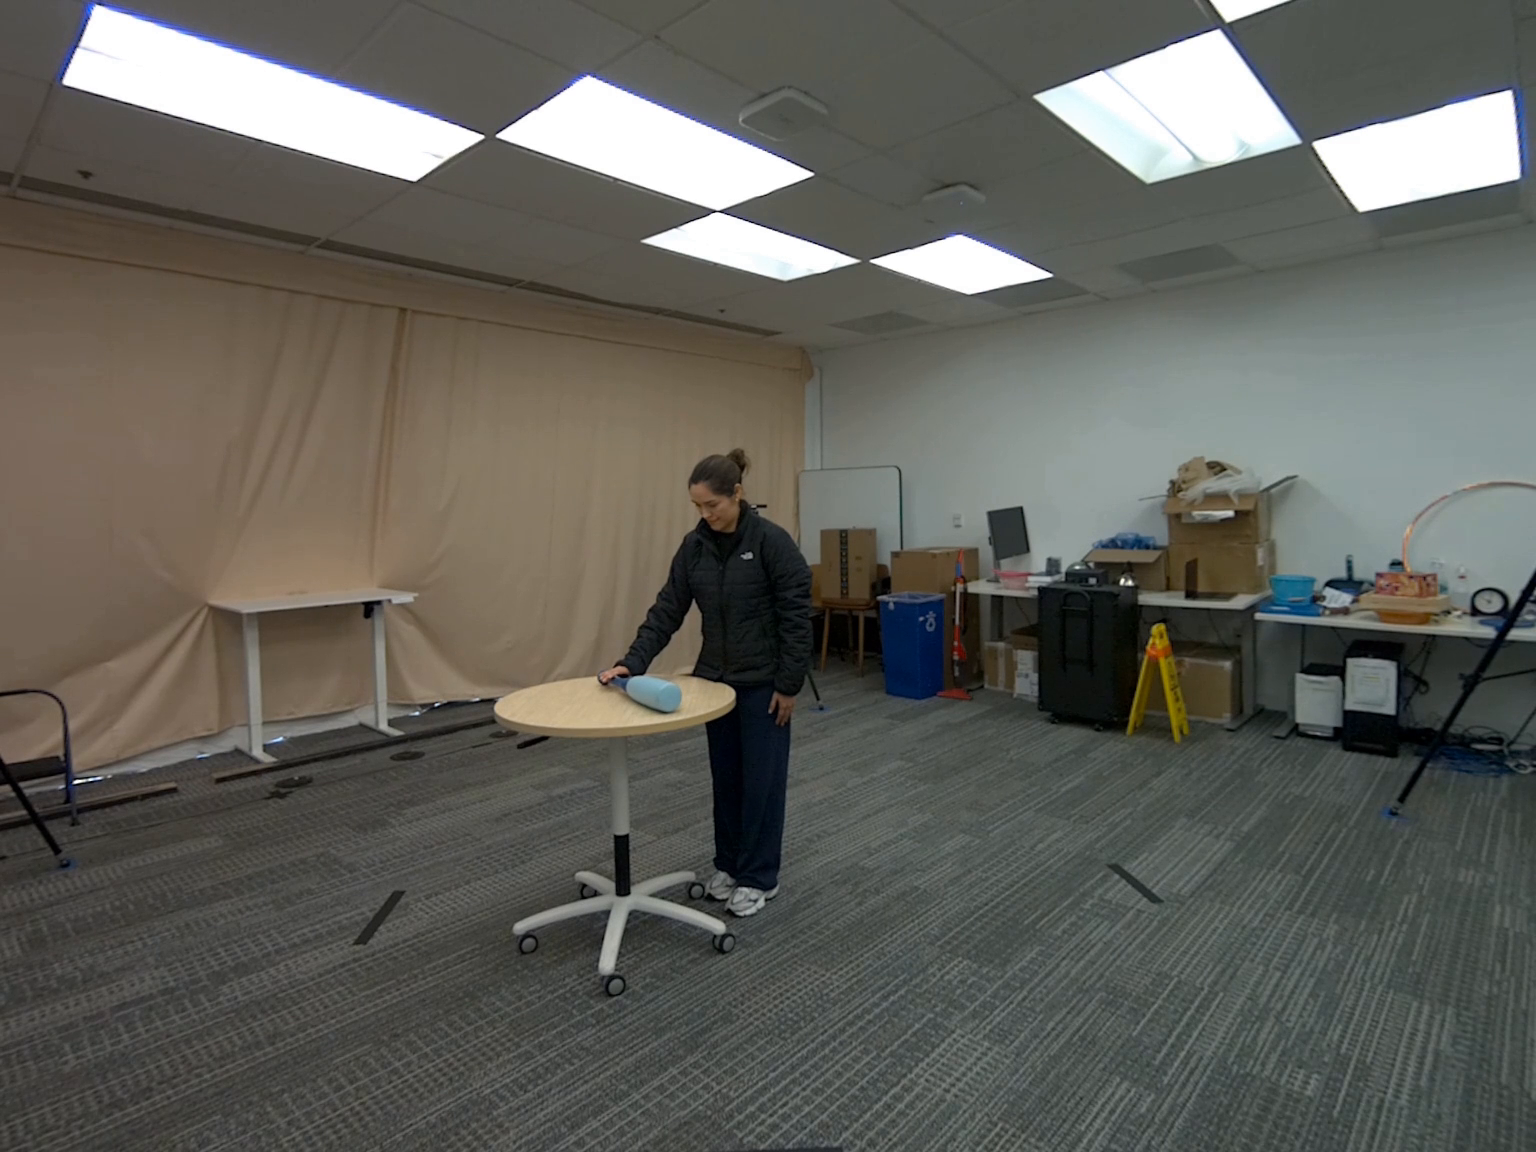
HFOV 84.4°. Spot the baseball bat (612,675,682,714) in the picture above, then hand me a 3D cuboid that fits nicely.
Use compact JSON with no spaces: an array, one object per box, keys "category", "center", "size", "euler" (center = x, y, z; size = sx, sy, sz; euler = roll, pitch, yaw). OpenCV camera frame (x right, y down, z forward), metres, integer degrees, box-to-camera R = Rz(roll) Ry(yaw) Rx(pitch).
[{"category":"baseball bat","center":[-0.411,0.353,2.687],"size":[0.086,0.089,0.558],"euler":[-3,1,-33]}]
